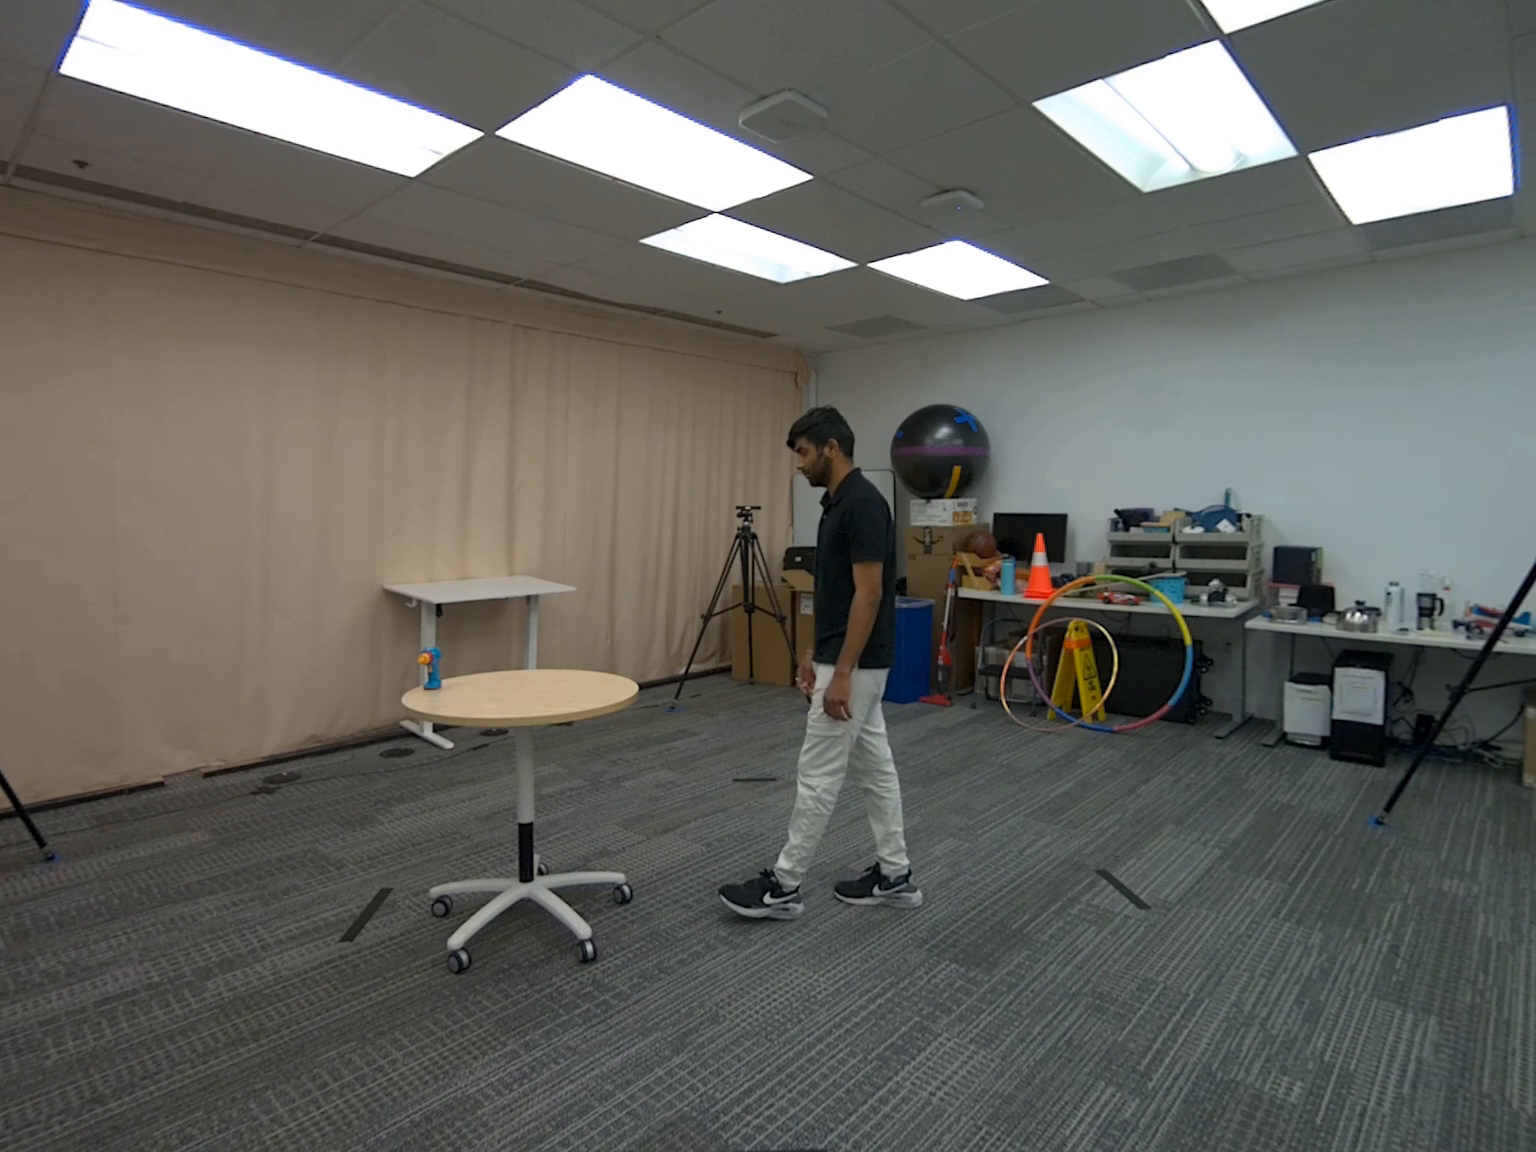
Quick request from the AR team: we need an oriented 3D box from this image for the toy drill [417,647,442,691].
[{"bbox_3d":[-1.132,0.312,2.808,0.061,0.146,0.170,1,4,-2],"label":"toy drill"}]
